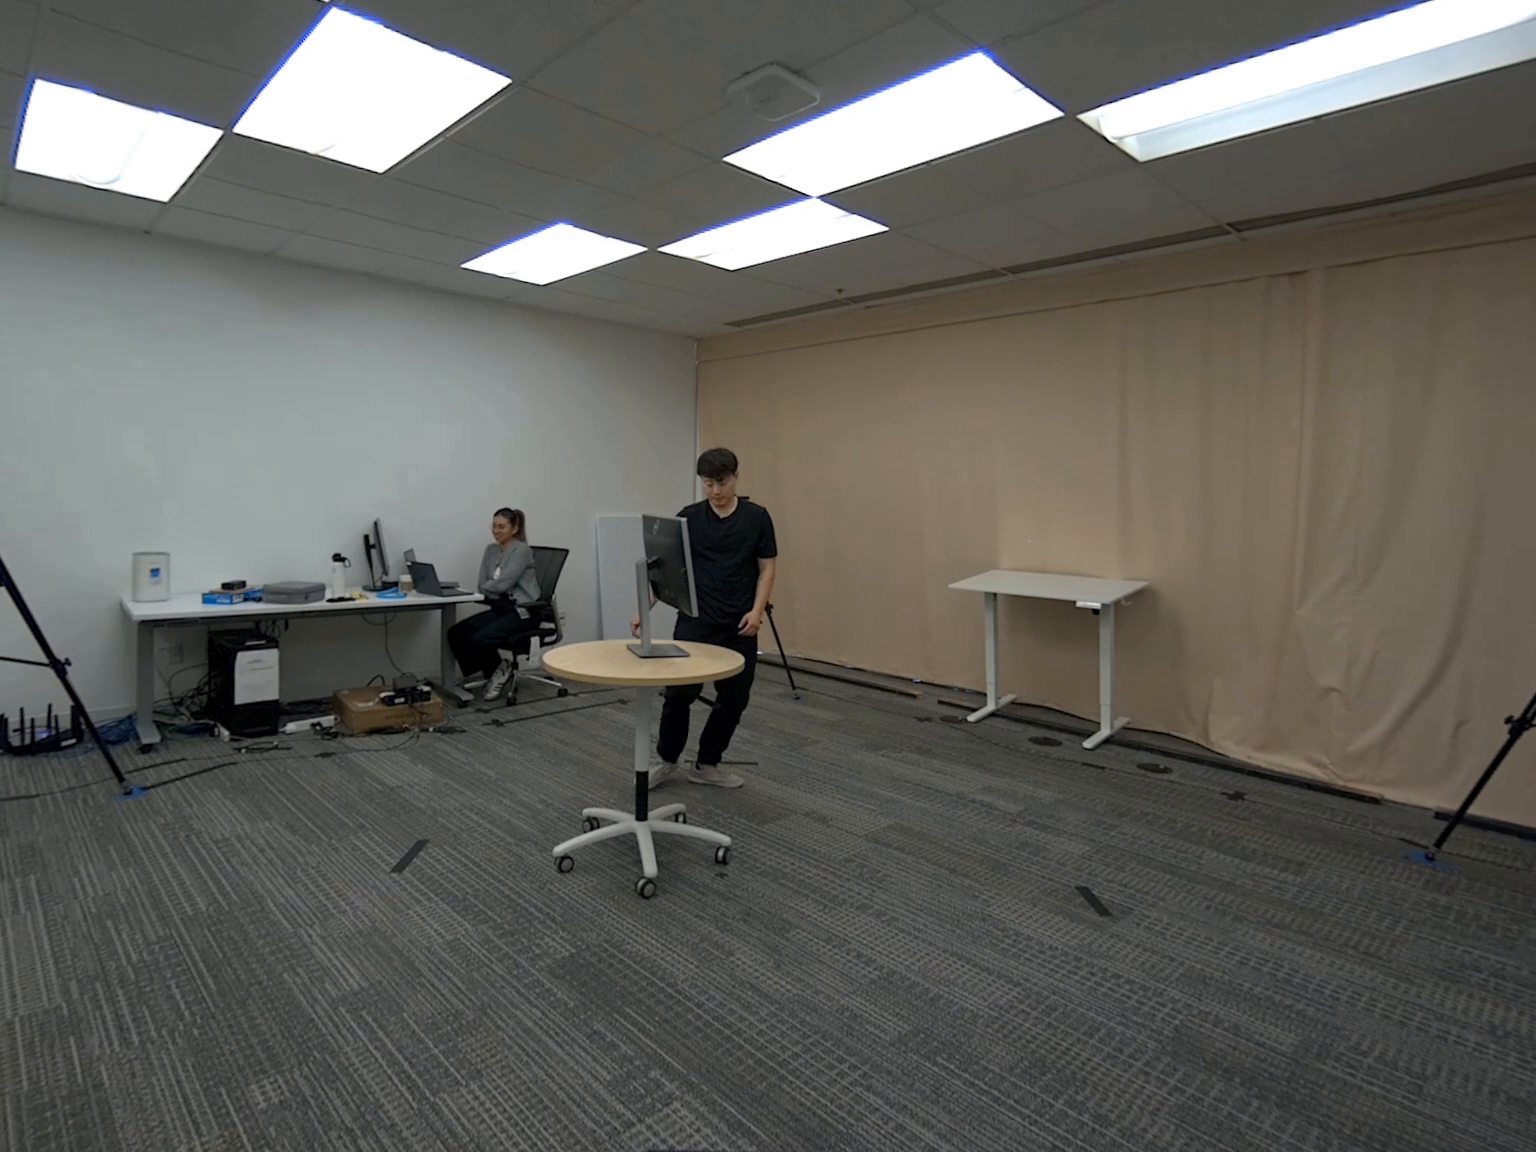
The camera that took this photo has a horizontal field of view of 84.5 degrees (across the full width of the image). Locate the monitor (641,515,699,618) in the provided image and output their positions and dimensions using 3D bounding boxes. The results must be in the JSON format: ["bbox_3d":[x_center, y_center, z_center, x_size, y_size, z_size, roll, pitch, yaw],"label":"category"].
[{"bbox_3d":[-0.438,0.037,3.303,0.184,0.521,0.549,2,4,-23],"label":"monitor"}]
